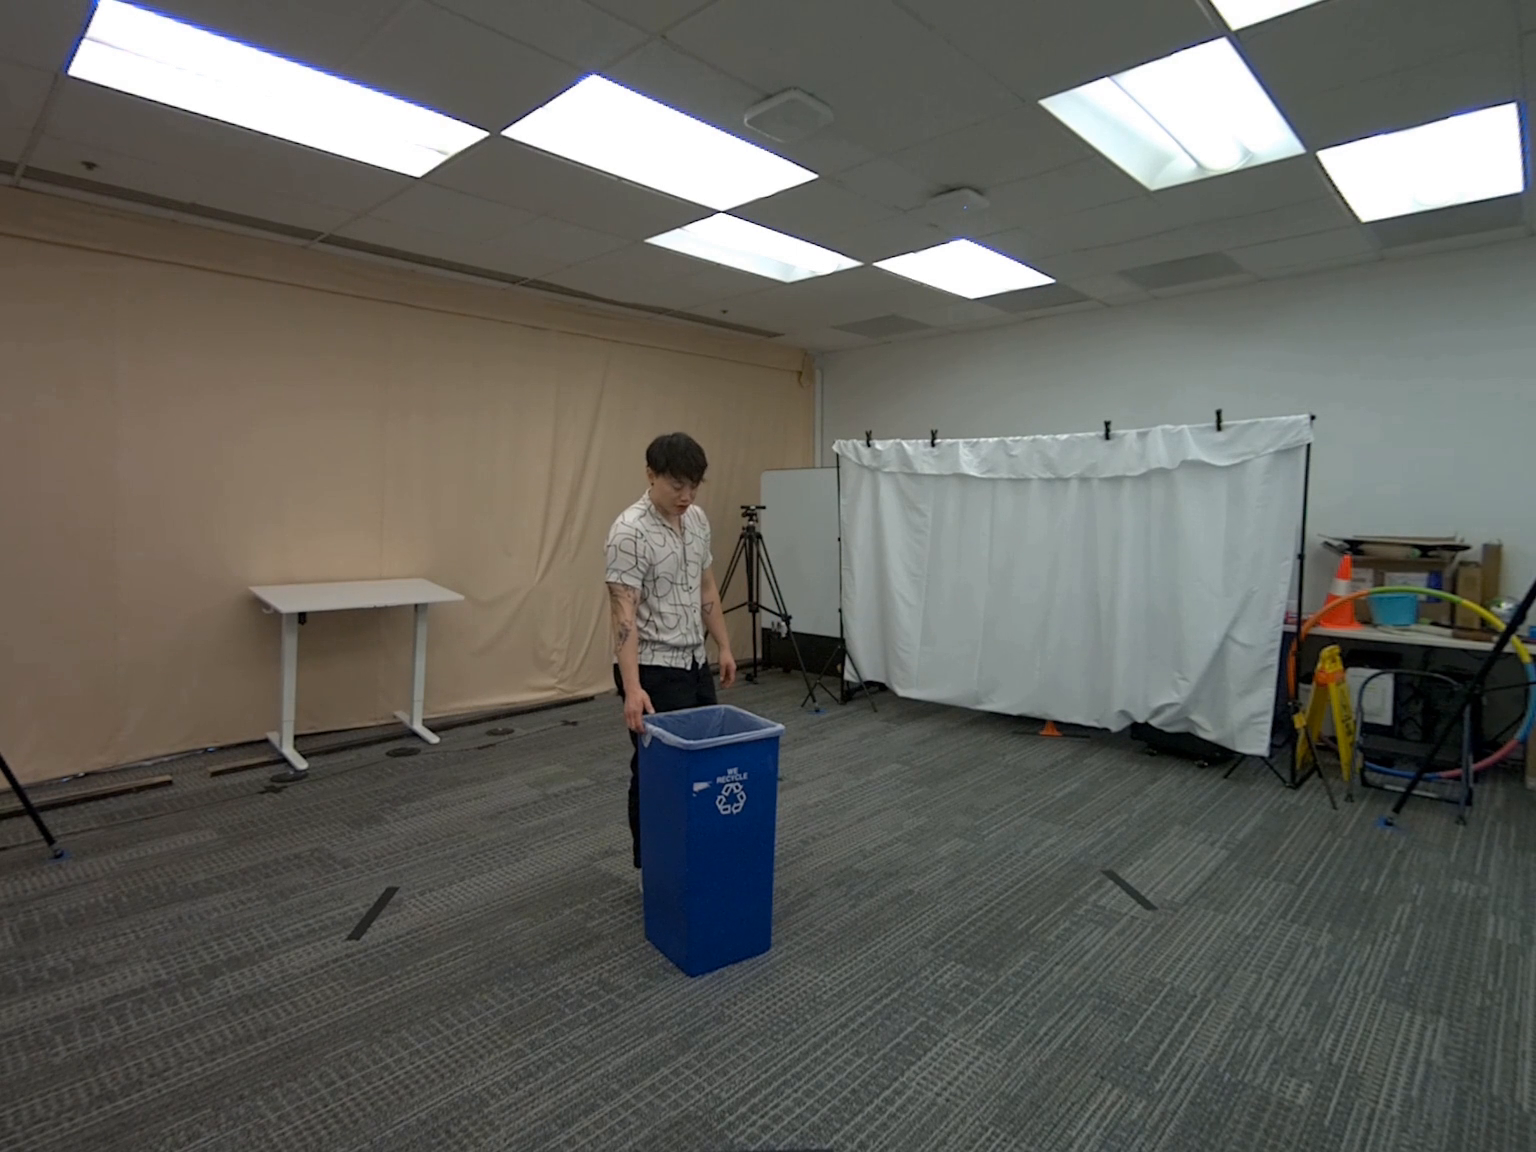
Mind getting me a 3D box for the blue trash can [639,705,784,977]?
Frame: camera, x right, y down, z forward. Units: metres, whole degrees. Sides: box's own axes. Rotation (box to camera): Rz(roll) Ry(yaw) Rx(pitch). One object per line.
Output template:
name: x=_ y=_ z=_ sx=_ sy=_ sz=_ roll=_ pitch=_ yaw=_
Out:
blue trash can: x=-0.184 y=0.814 z=2.669 sx=0.363 sy=0.712 sz=0.390 roll=-2 pitch=4 yaw=-34
